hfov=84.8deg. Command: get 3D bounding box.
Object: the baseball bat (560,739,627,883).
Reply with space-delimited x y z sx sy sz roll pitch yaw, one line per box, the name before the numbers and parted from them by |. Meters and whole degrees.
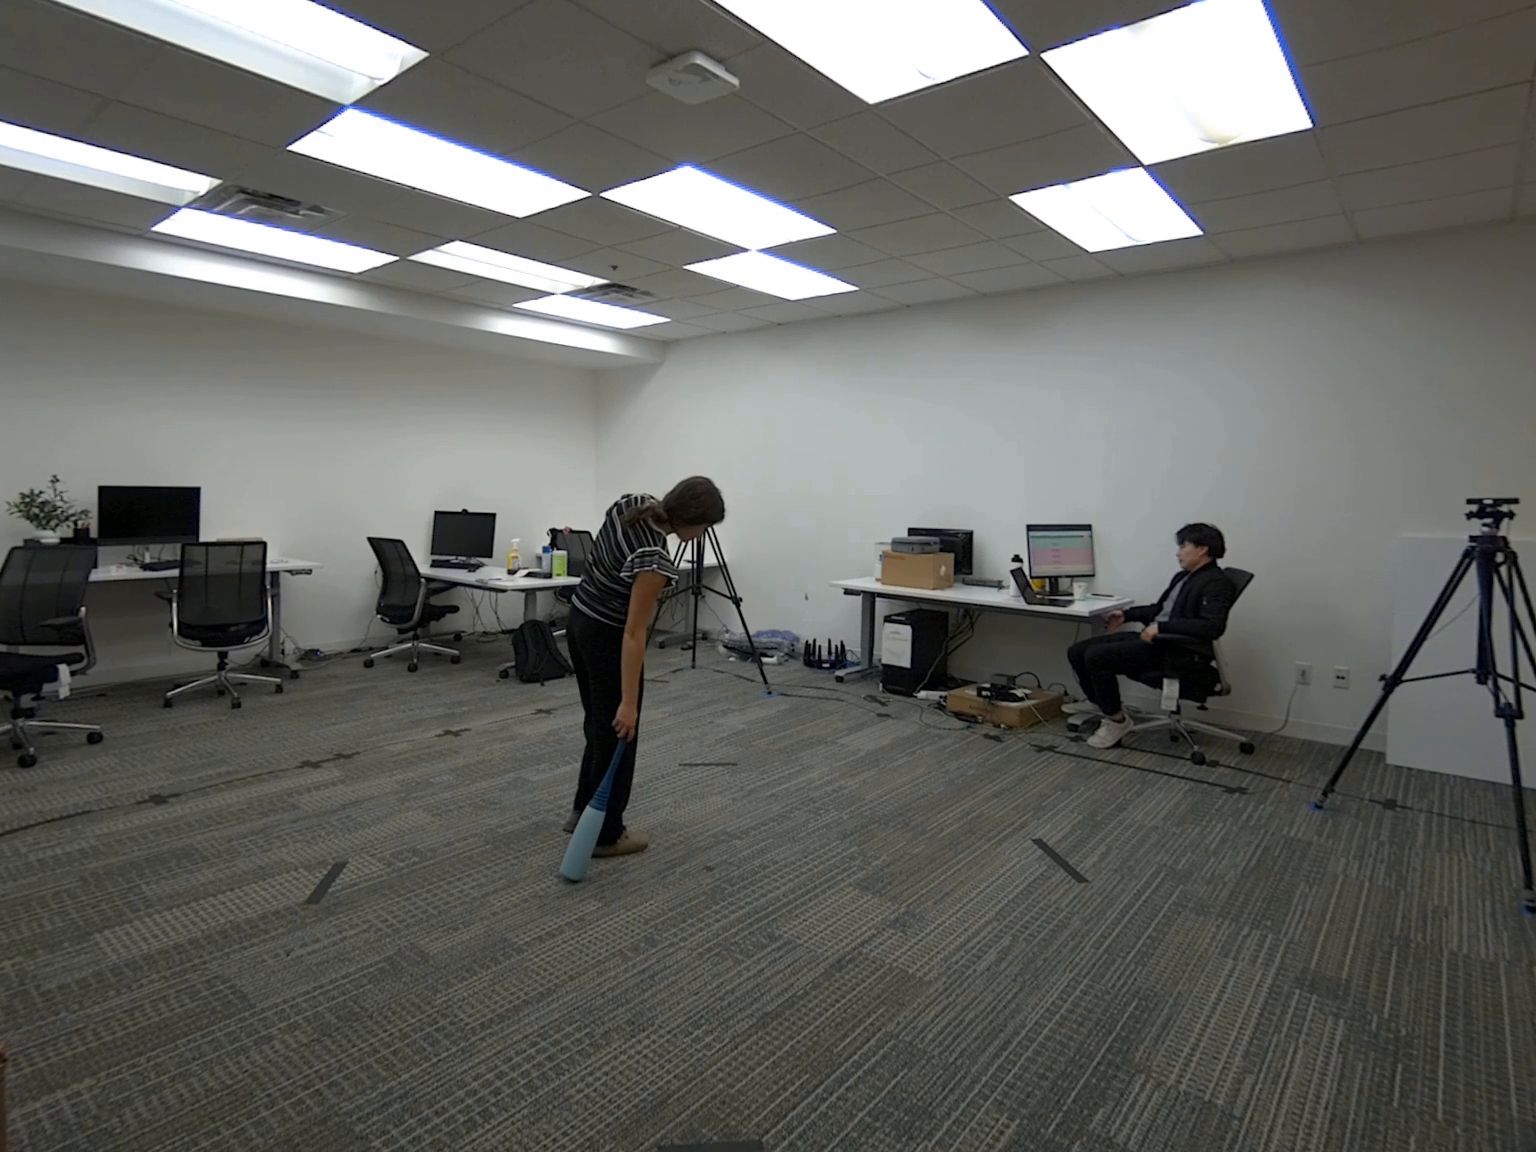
baseball bat | -0.626 0.812 3.039 0.089 0.546 0.088 19 -10 1
